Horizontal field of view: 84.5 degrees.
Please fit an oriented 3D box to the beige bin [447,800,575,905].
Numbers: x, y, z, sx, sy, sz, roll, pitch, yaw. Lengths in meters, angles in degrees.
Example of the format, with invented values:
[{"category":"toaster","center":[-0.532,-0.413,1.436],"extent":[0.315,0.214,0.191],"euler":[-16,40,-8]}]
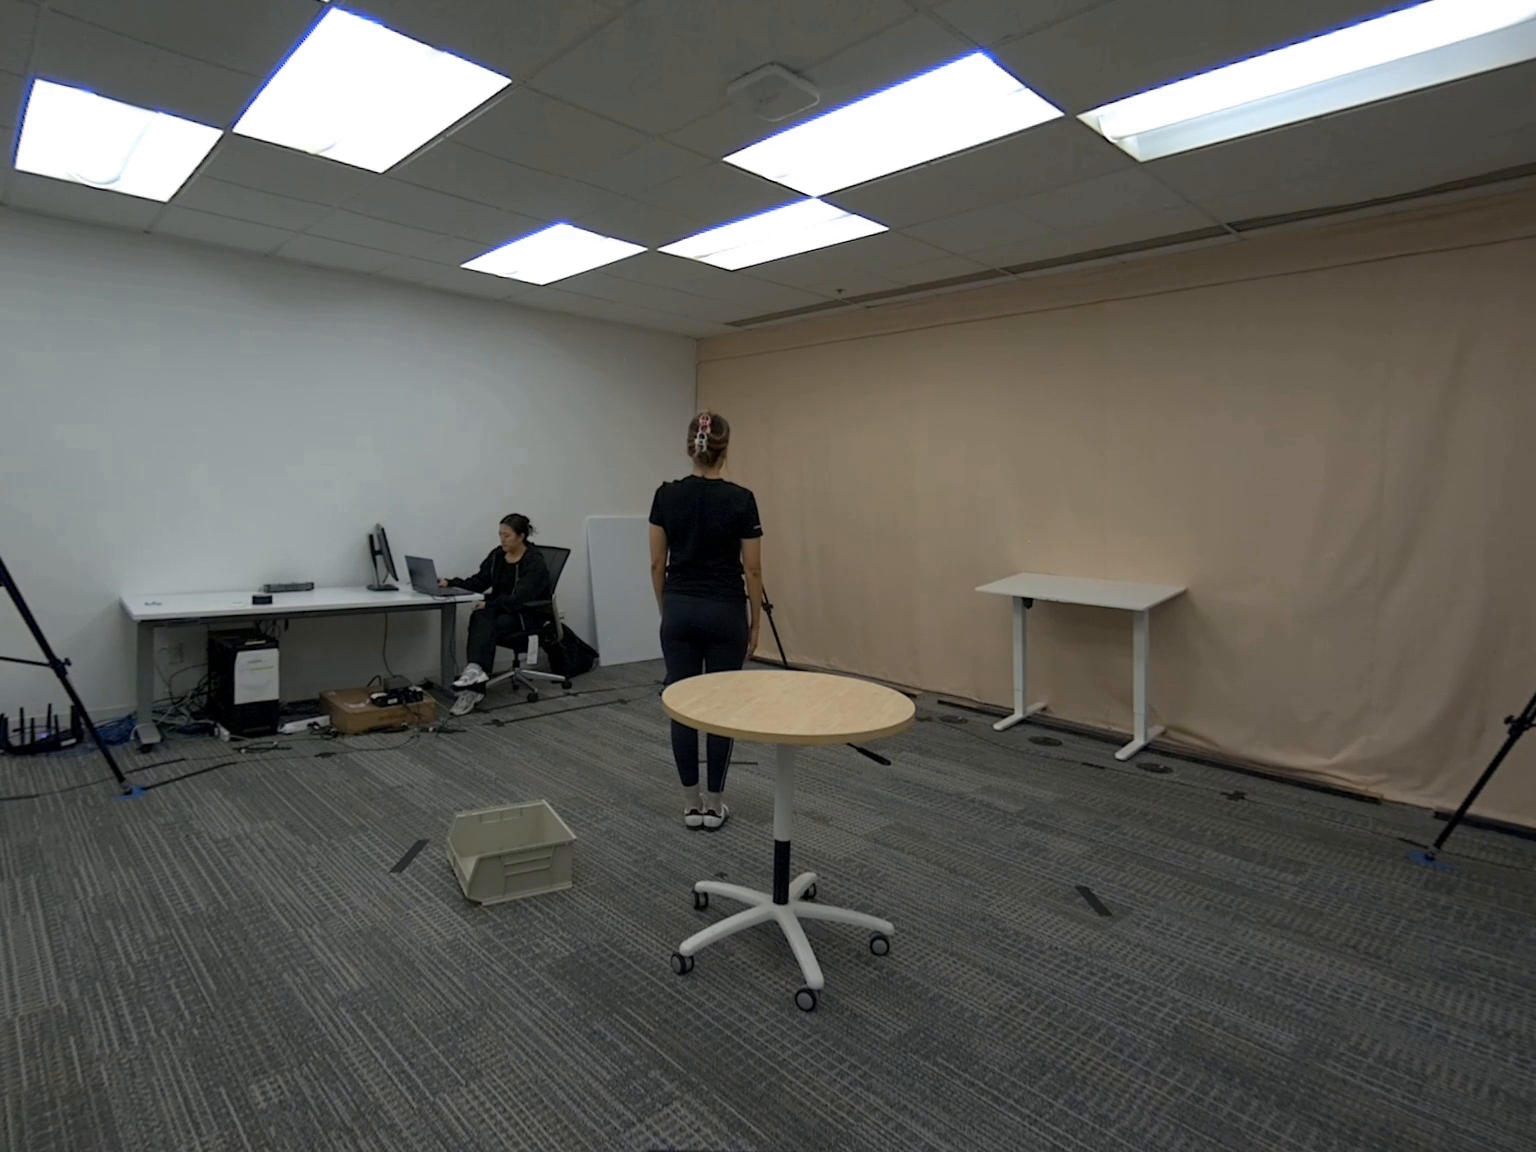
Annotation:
[{"category":"beige bin","center":[-0.951,1.002,3.066],"extent":[0.370,0.188,0.432],"euler":[0,5,-30]}]
